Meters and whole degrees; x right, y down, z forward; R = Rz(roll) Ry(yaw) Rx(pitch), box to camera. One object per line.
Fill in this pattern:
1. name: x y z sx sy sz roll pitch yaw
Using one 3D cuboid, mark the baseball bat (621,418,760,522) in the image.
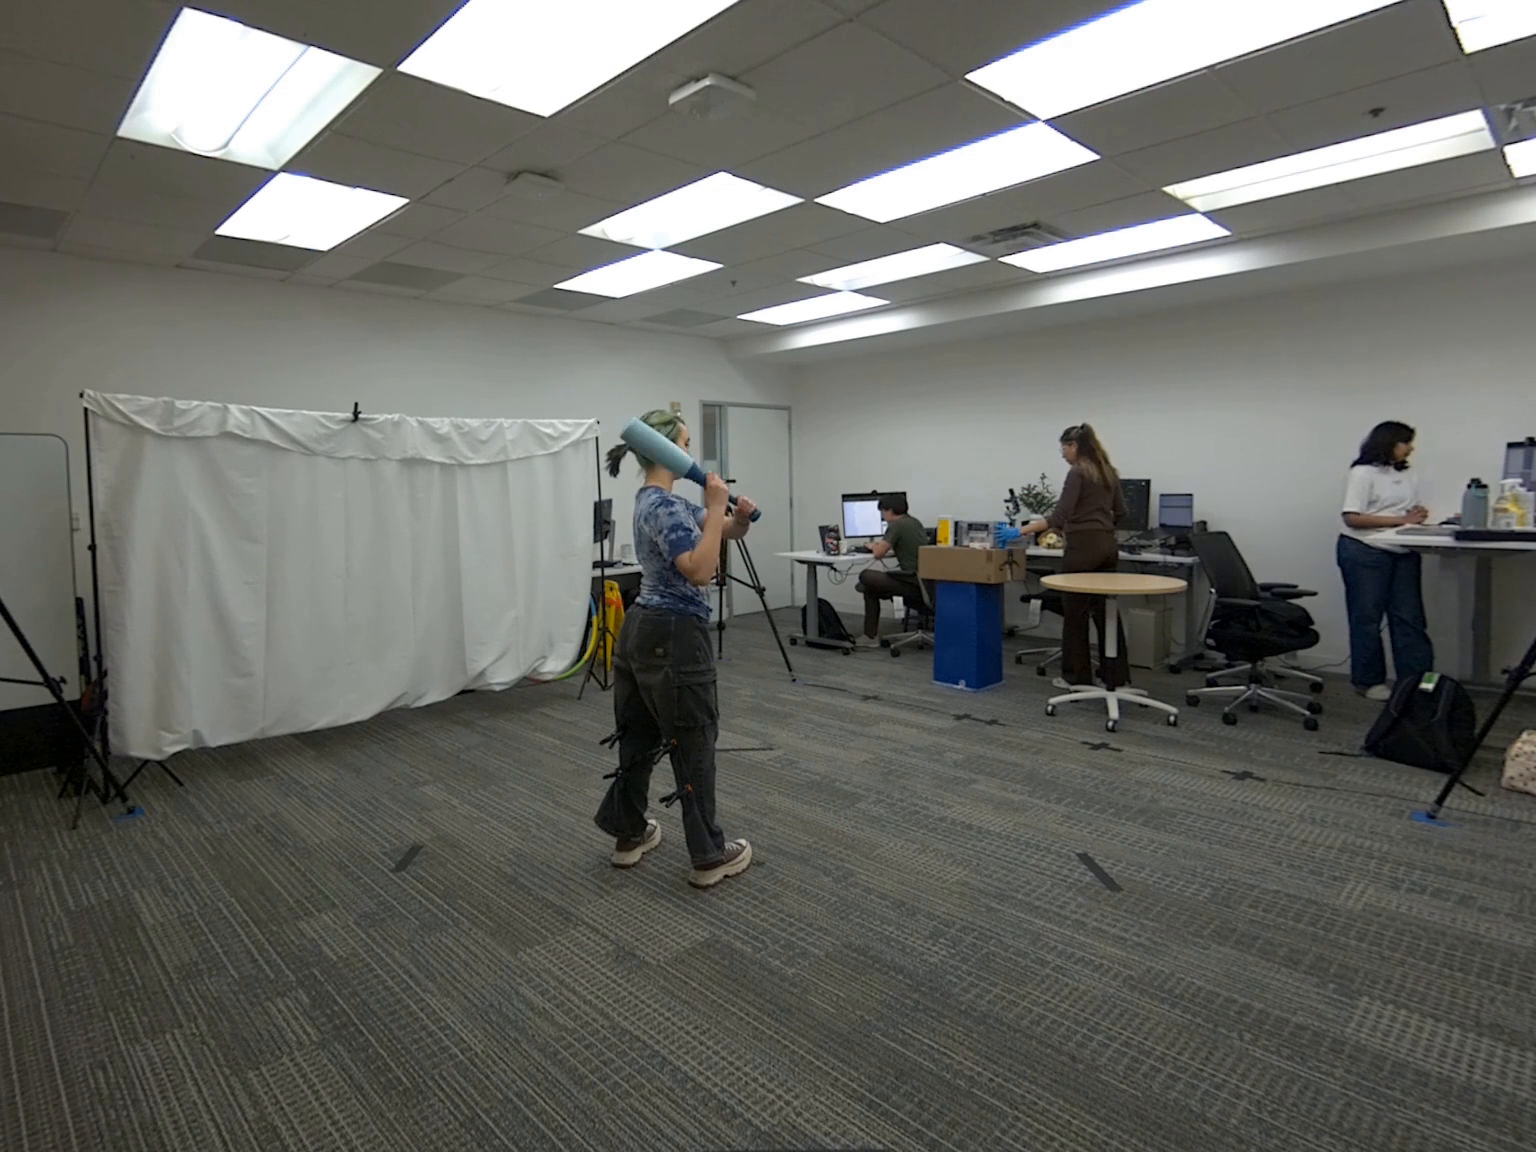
1. baseball bat: -0.251 -0.339 2.843 0.533 0.089 0.090 34 -5 -13
